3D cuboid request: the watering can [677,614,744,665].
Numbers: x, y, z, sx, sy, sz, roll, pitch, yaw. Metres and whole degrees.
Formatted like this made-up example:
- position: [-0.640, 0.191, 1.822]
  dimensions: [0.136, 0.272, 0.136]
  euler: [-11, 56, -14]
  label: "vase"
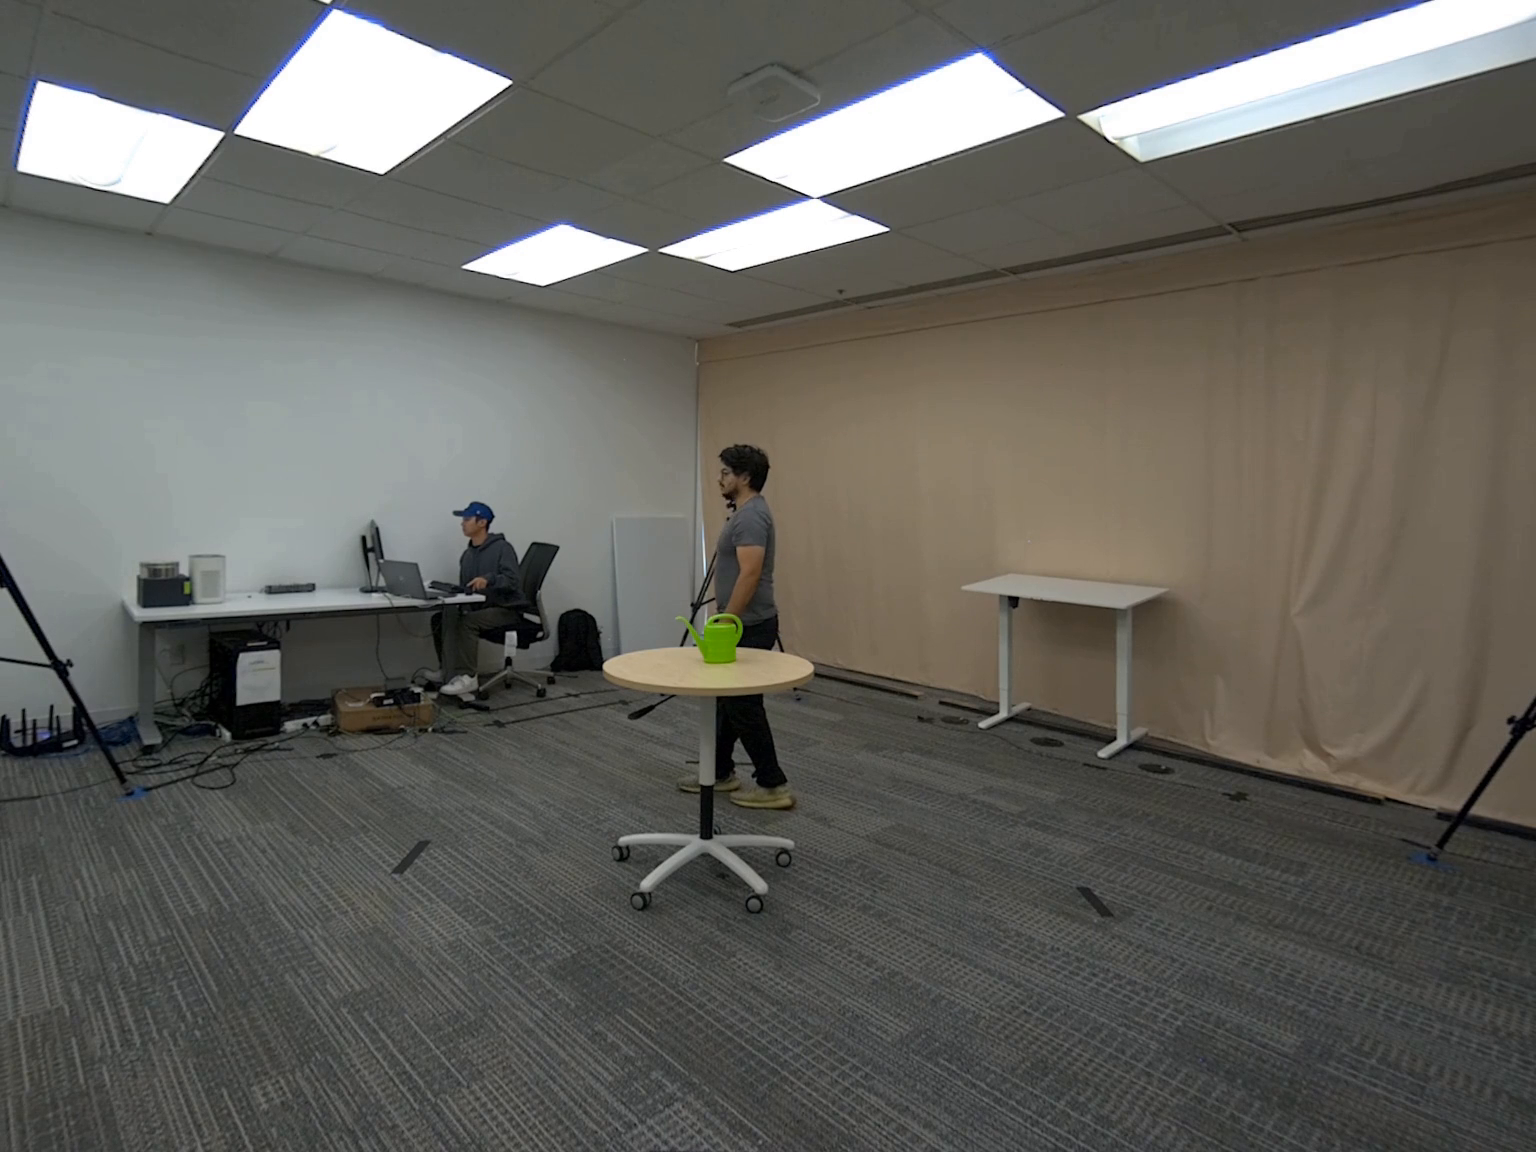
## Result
- position: [-0.233, 0.234, 3.128]
  dimensions: [0.274, 0.176, 0.100]
  euler: [0, 2, -21]
  label: "watering can"
